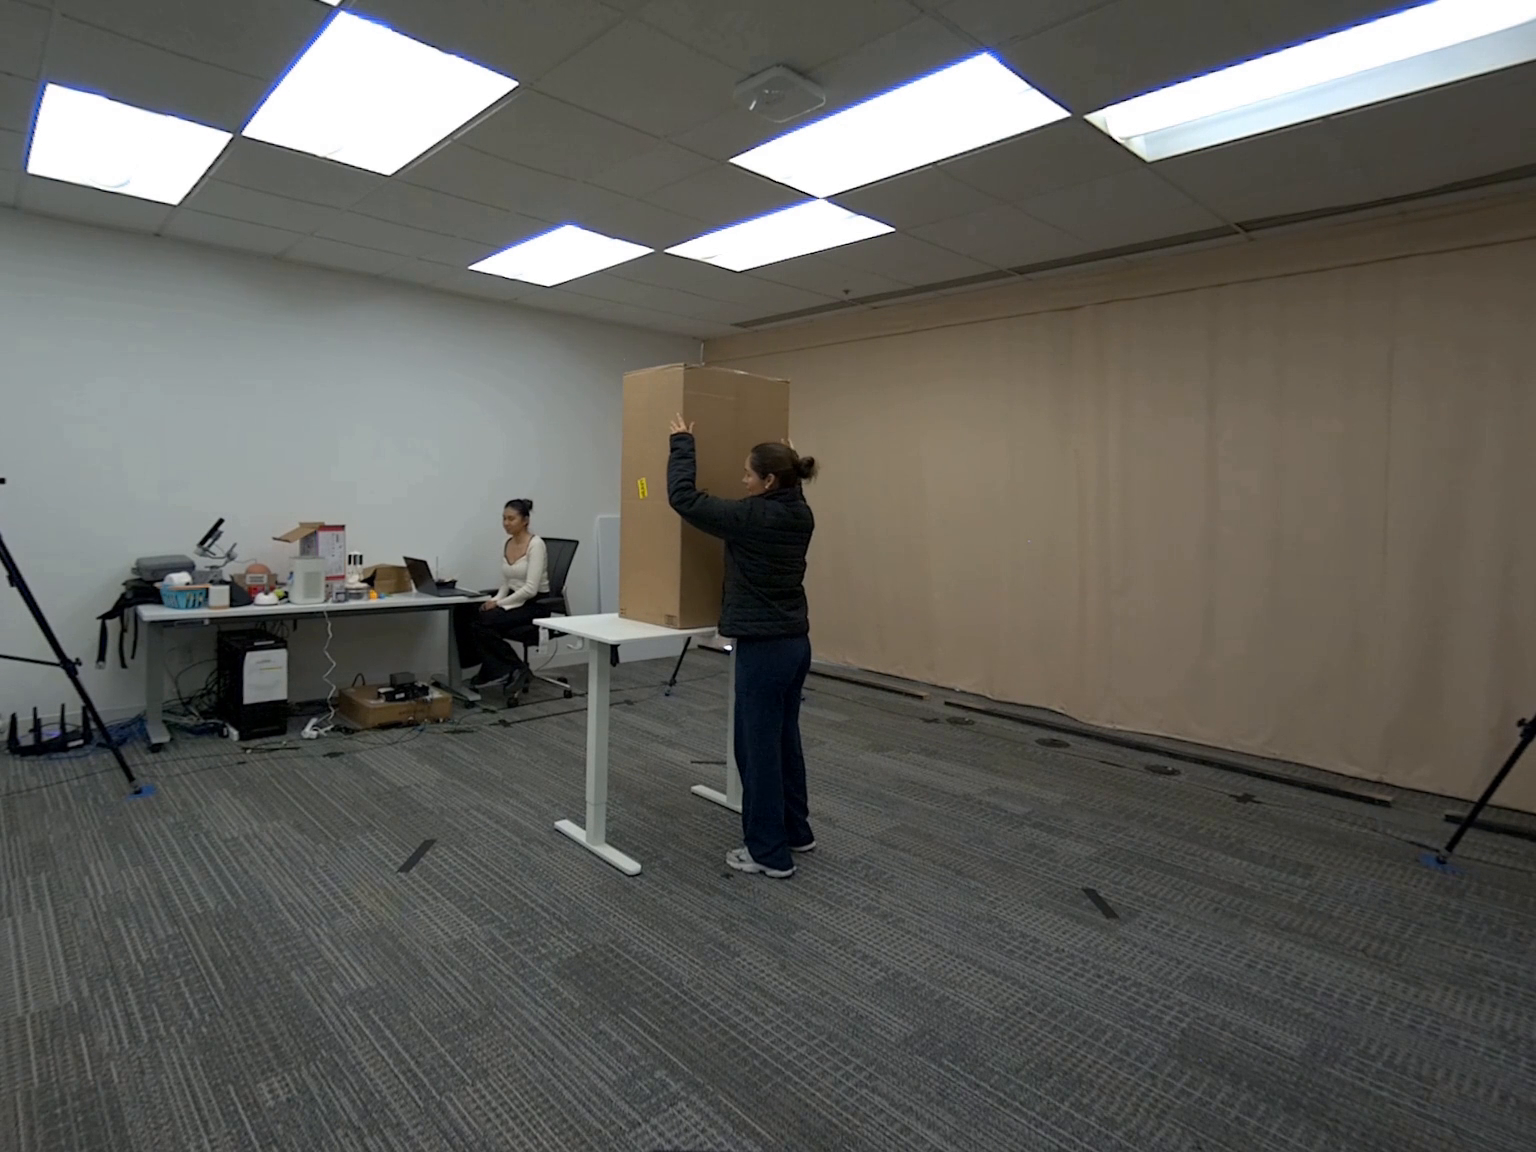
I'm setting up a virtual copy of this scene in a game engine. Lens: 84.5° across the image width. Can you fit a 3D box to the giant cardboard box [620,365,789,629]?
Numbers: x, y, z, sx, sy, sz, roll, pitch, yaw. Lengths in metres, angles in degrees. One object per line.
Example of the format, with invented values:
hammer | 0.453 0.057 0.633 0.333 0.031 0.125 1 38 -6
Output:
giant cardboard box | -0.272 -0.326 3.550 0.570 1.025 0.458 -1 3 -41
